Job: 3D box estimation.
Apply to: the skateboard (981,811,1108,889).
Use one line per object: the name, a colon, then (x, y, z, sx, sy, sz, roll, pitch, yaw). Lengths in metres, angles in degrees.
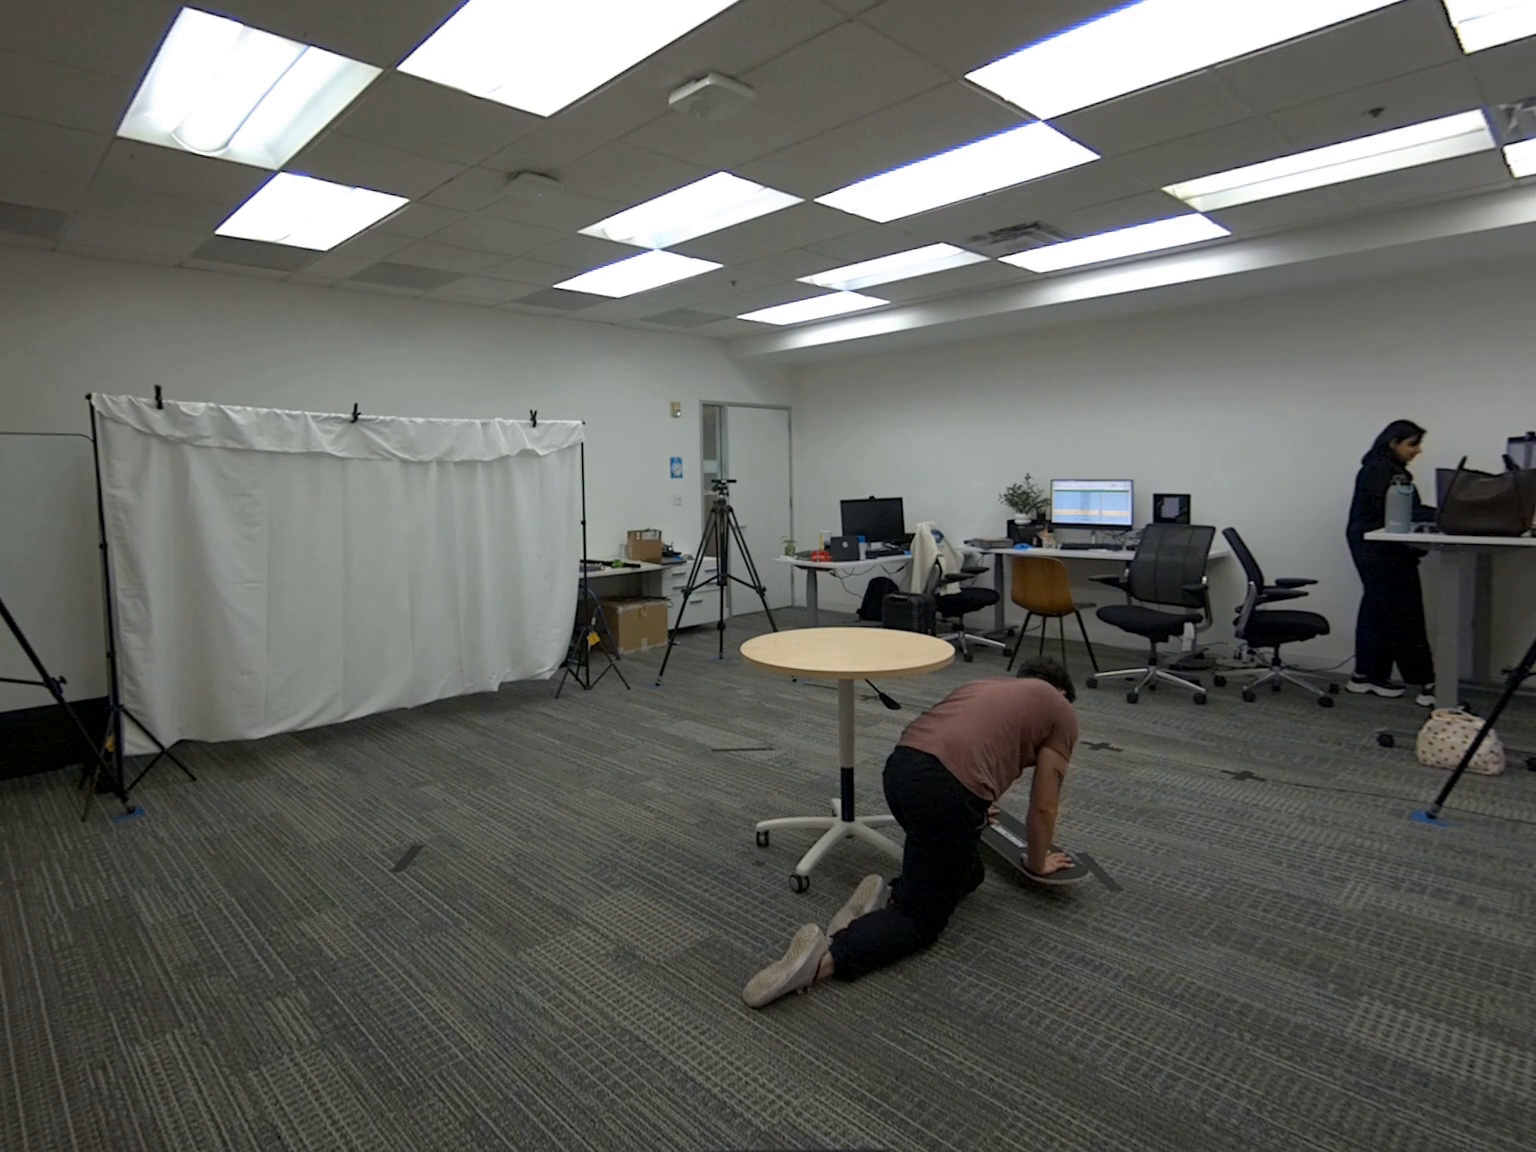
skateboard: (0.881, 0.972, 3.121, 0.191, 0.109, 0.800, -6, 8, -15)
